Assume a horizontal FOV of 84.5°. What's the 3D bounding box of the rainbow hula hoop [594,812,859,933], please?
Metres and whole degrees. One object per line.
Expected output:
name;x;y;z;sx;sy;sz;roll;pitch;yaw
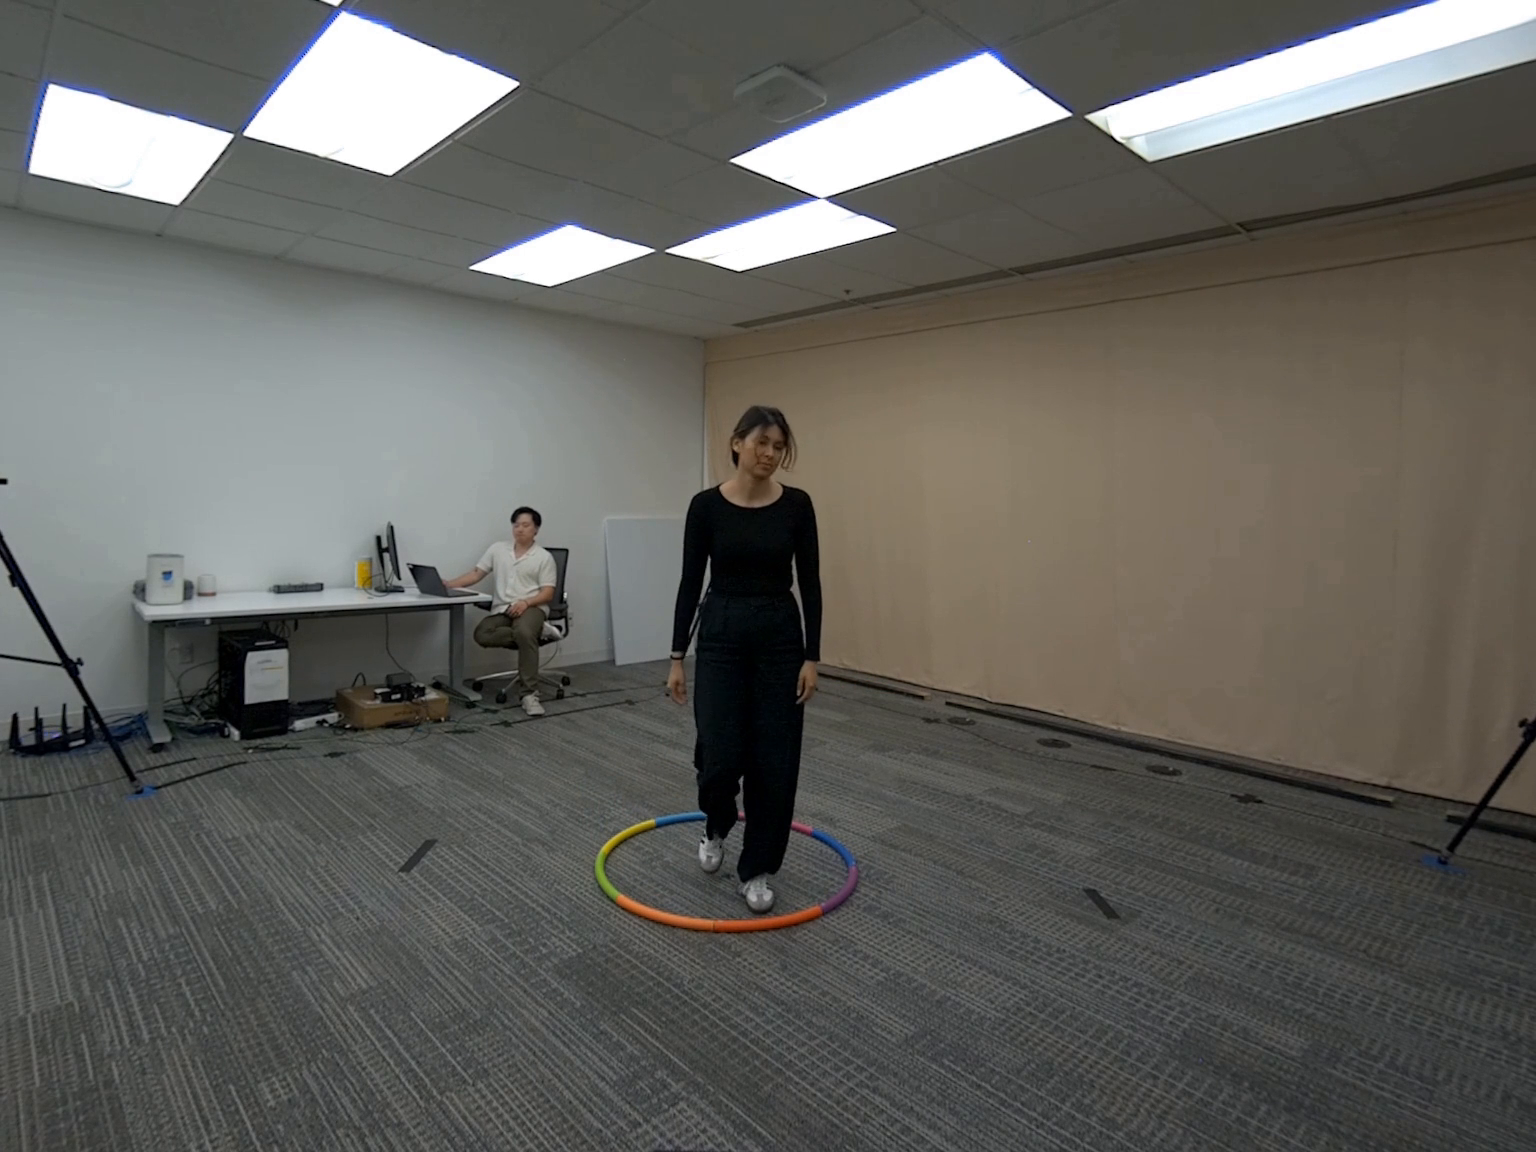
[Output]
rainbow hula hoop;-0.163;1.068;3.181;0.978;0.035;0.982;1;5;-1
